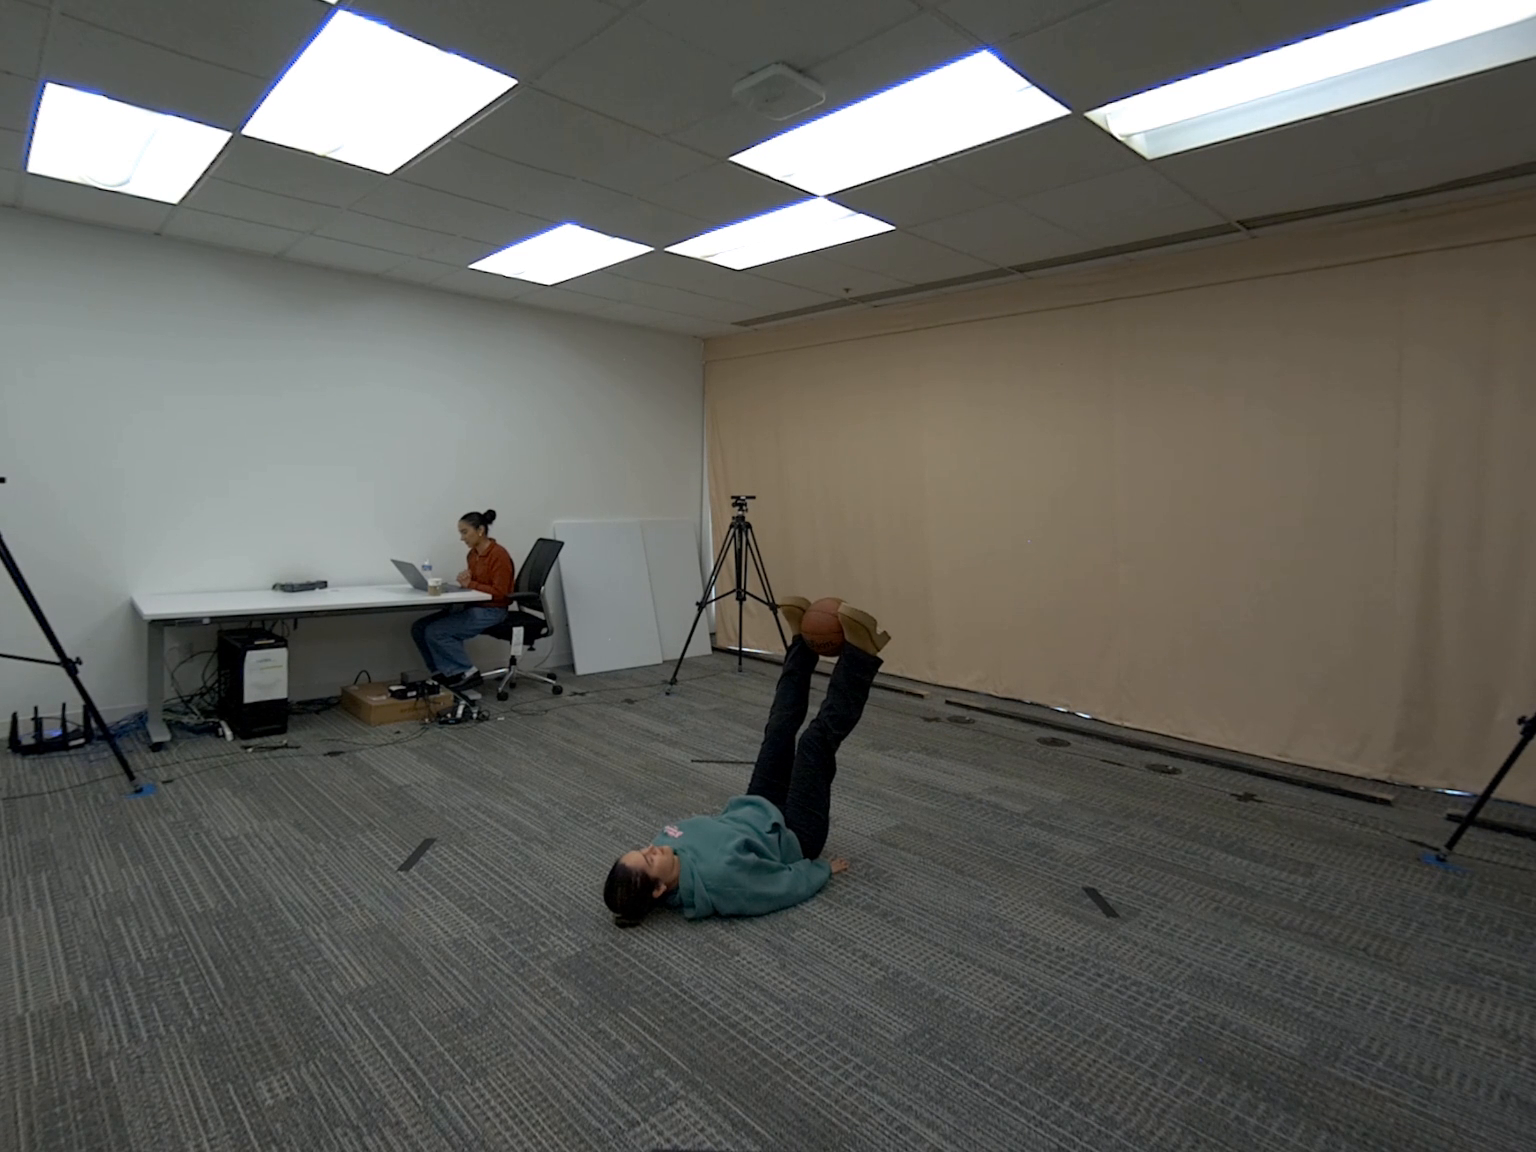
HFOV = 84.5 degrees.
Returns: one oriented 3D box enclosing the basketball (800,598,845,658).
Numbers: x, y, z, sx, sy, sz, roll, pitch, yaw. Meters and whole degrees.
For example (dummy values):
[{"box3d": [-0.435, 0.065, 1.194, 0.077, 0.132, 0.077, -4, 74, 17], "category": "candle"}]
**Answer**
[{"box3d": [0.254, 0.205, 3.350, 0.236, 0.235, 0.237, 1, 5, -1], "category": "basketball"}]
